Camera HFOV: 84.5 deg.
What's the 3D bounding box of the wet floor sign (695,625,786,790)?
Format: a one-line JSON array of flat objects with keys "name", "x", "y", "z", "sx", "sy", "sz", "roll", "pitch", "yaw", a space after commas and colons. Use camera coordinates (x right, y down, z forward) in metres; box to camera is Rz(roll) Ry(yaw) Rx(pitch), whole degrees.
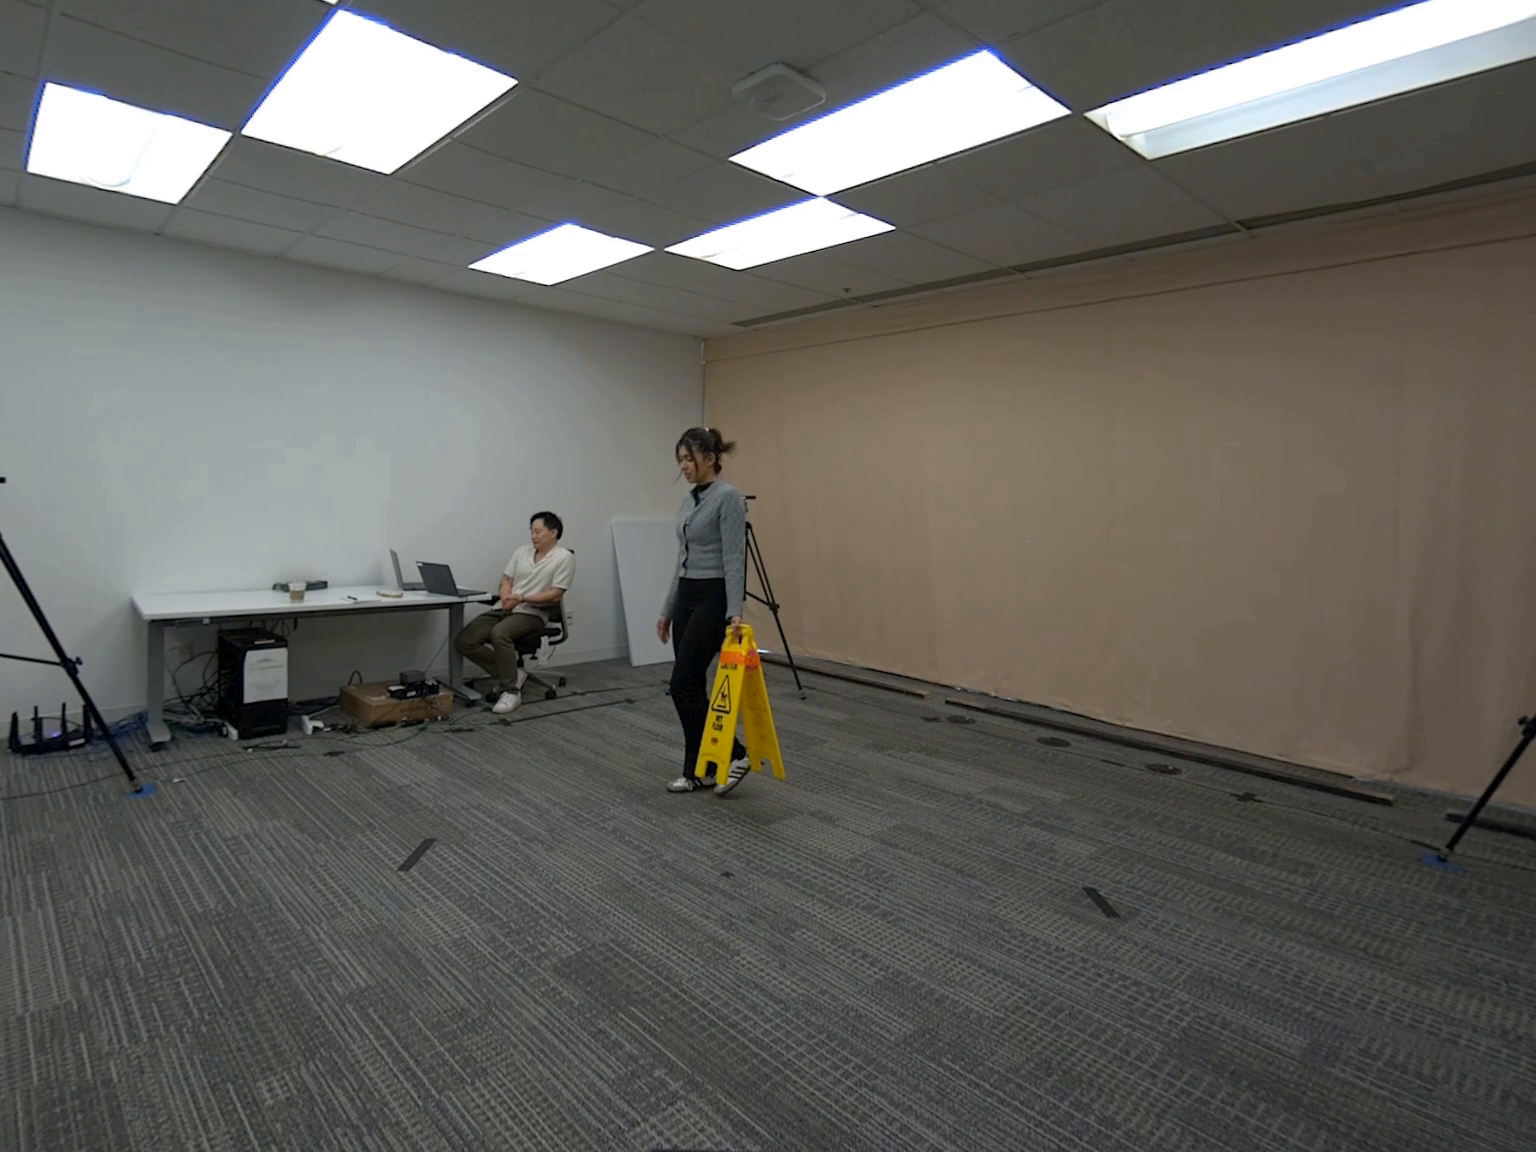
[{"name": "wet floor sign", "x": -0.131, "y": 0.536, "z": 3.612, "sx": 0.284, "sy": 0.649, "sz": 0.287, "roll": 3, "pitch": -6, "yaw": -30}]
